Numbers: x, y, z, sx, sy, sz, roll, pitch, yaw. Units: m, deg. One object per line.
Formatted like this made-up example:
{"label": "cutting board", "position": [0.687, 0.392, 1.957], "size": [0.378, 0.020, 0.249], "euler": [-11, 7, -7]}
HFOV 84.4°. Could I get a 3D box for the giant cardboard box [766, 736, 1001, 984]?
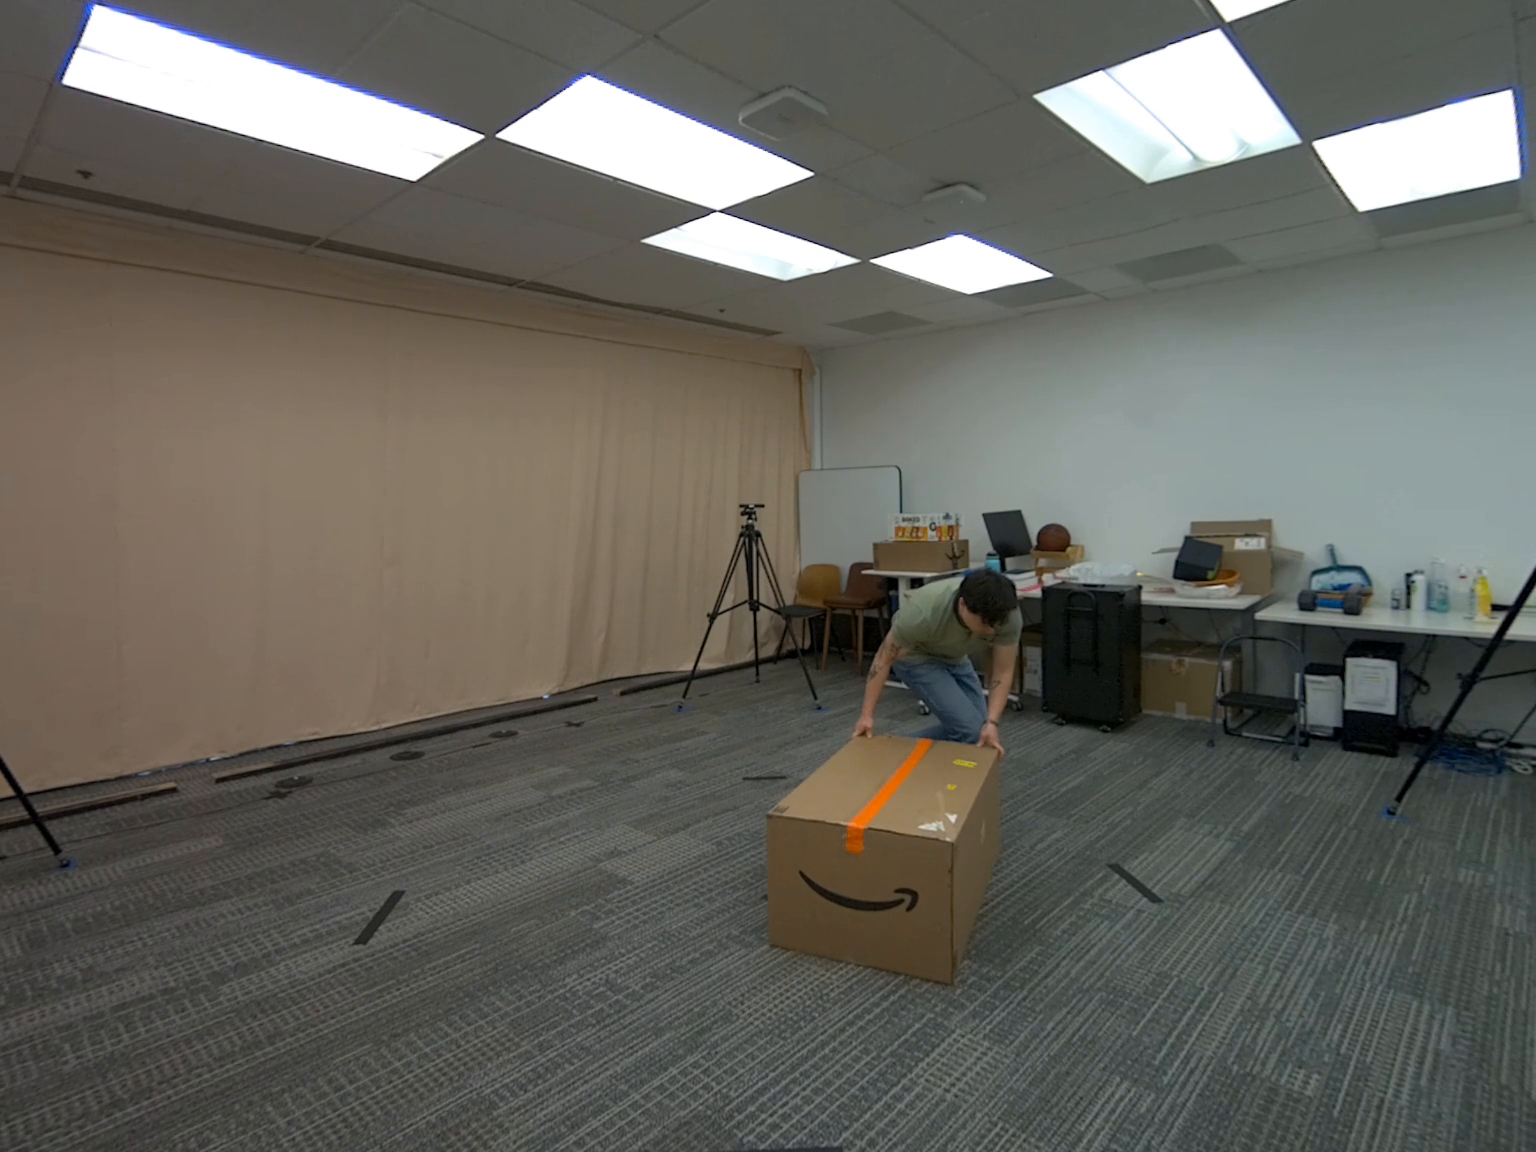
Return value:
{"label": "giant cardboard box", "position": [0.454, 0.918, 2.984], "size": [0.592, 0.425, 1.004], "euler": [2, 5, 23]}
